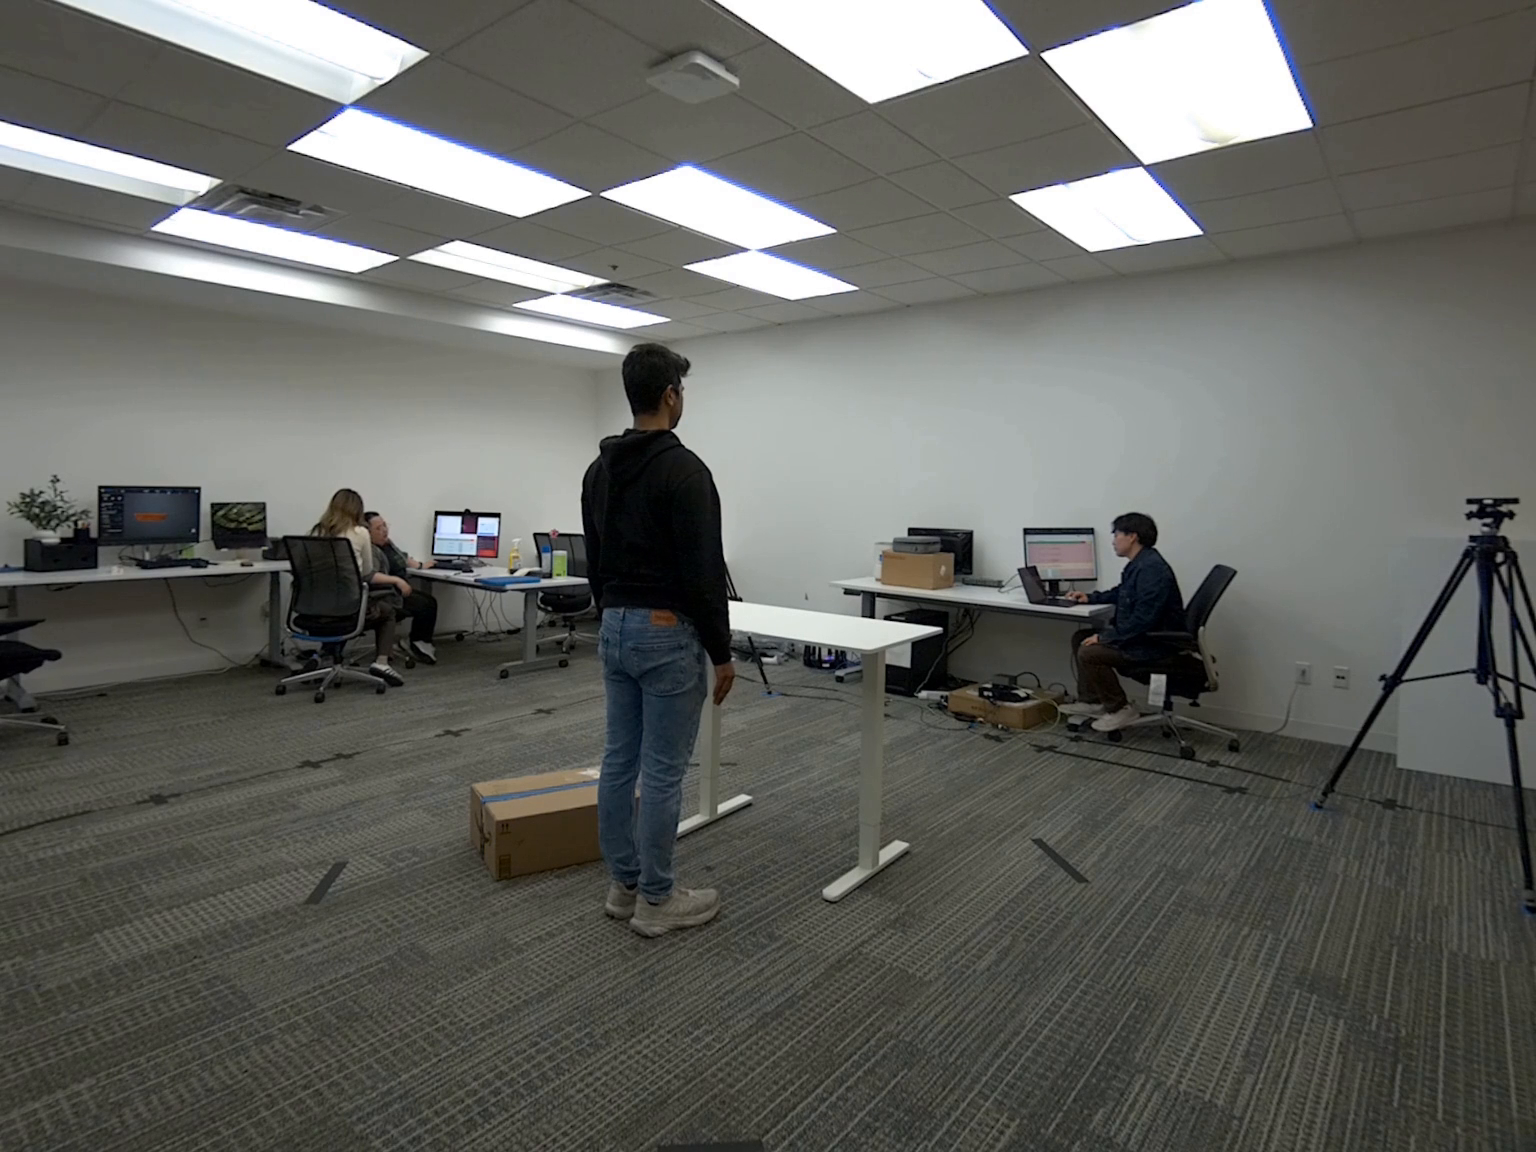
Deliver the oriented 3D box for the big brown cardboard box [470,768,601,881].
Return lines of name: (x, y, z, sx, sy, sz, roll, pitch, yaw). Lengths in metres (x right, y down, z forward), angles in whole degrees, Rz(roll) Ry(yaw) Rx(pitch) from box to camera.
big brown cardboard box: (-0.830, 0.928, 3.284, 0.573, 0.232, 0.430, -3, 6, -31)
